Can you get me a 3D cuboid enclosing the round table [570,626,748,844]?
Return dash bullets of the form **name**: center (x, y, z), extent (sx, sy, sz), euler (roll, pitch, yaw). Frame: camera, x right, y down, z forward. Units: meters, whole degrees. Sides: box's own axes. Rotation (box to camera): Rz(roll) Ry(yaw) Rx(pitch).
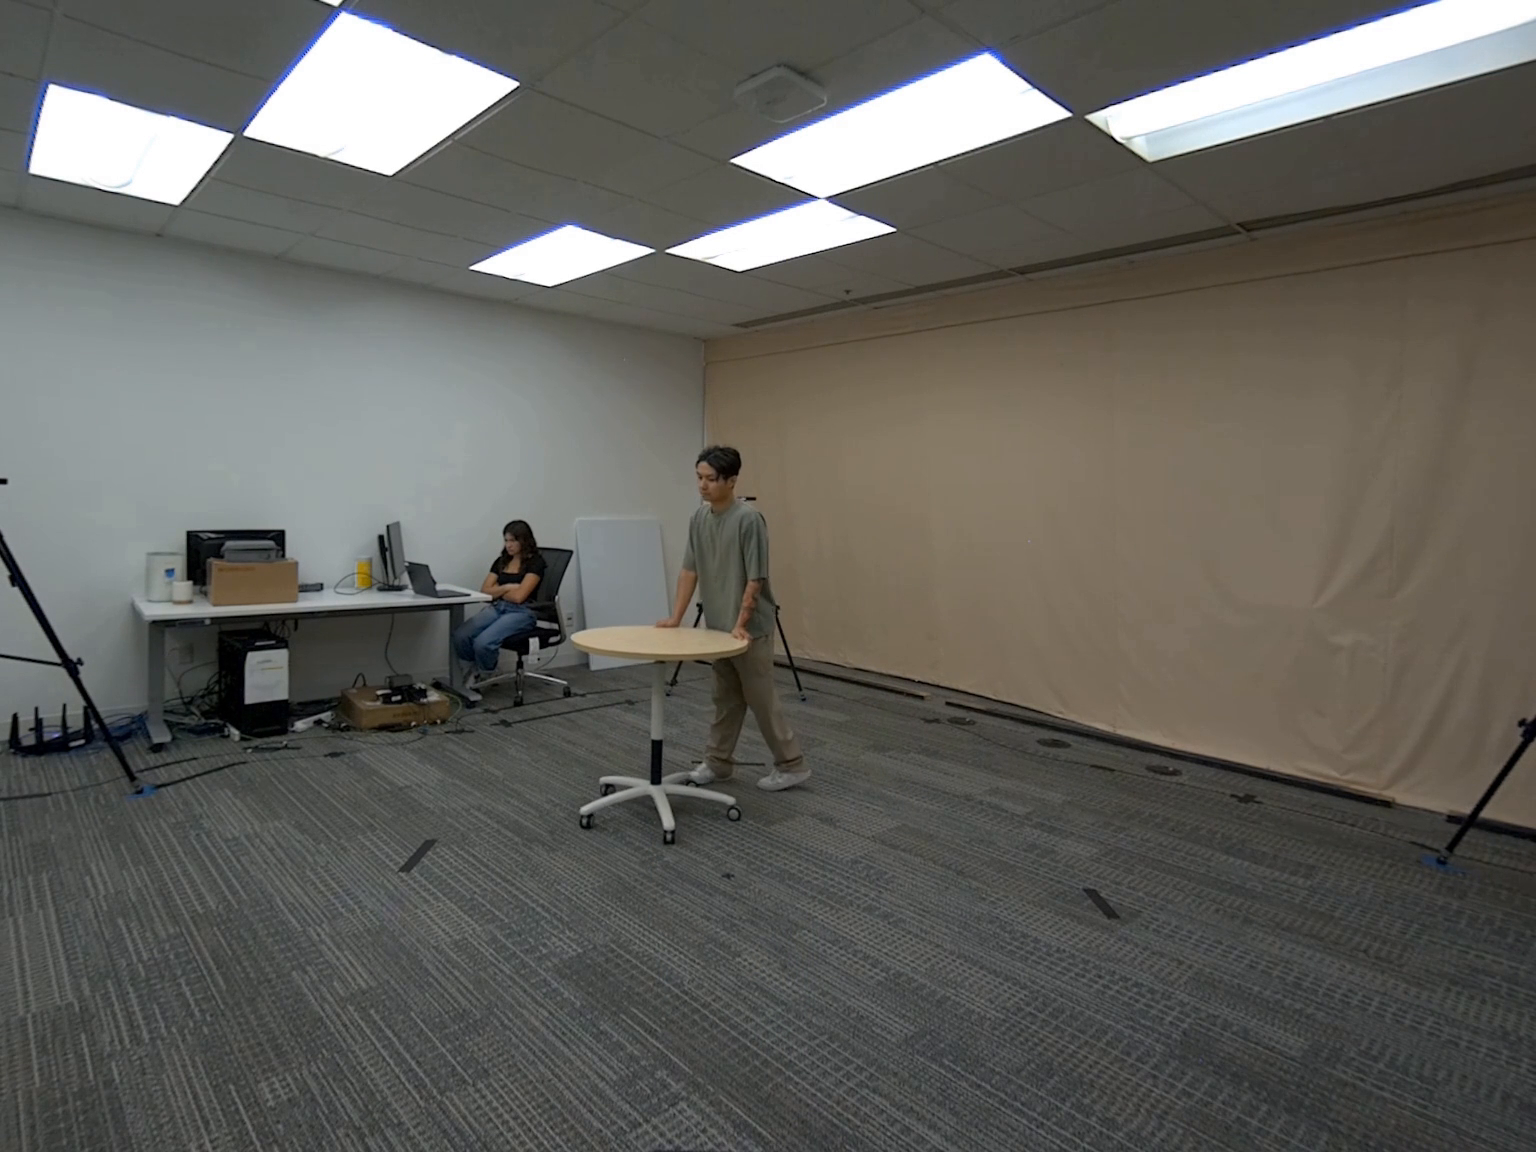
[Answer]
- **round table**: center (-0.502, 0.658, 3.659), extent (0.784, 0.785, 0.787), euler (2, 3, -2)
